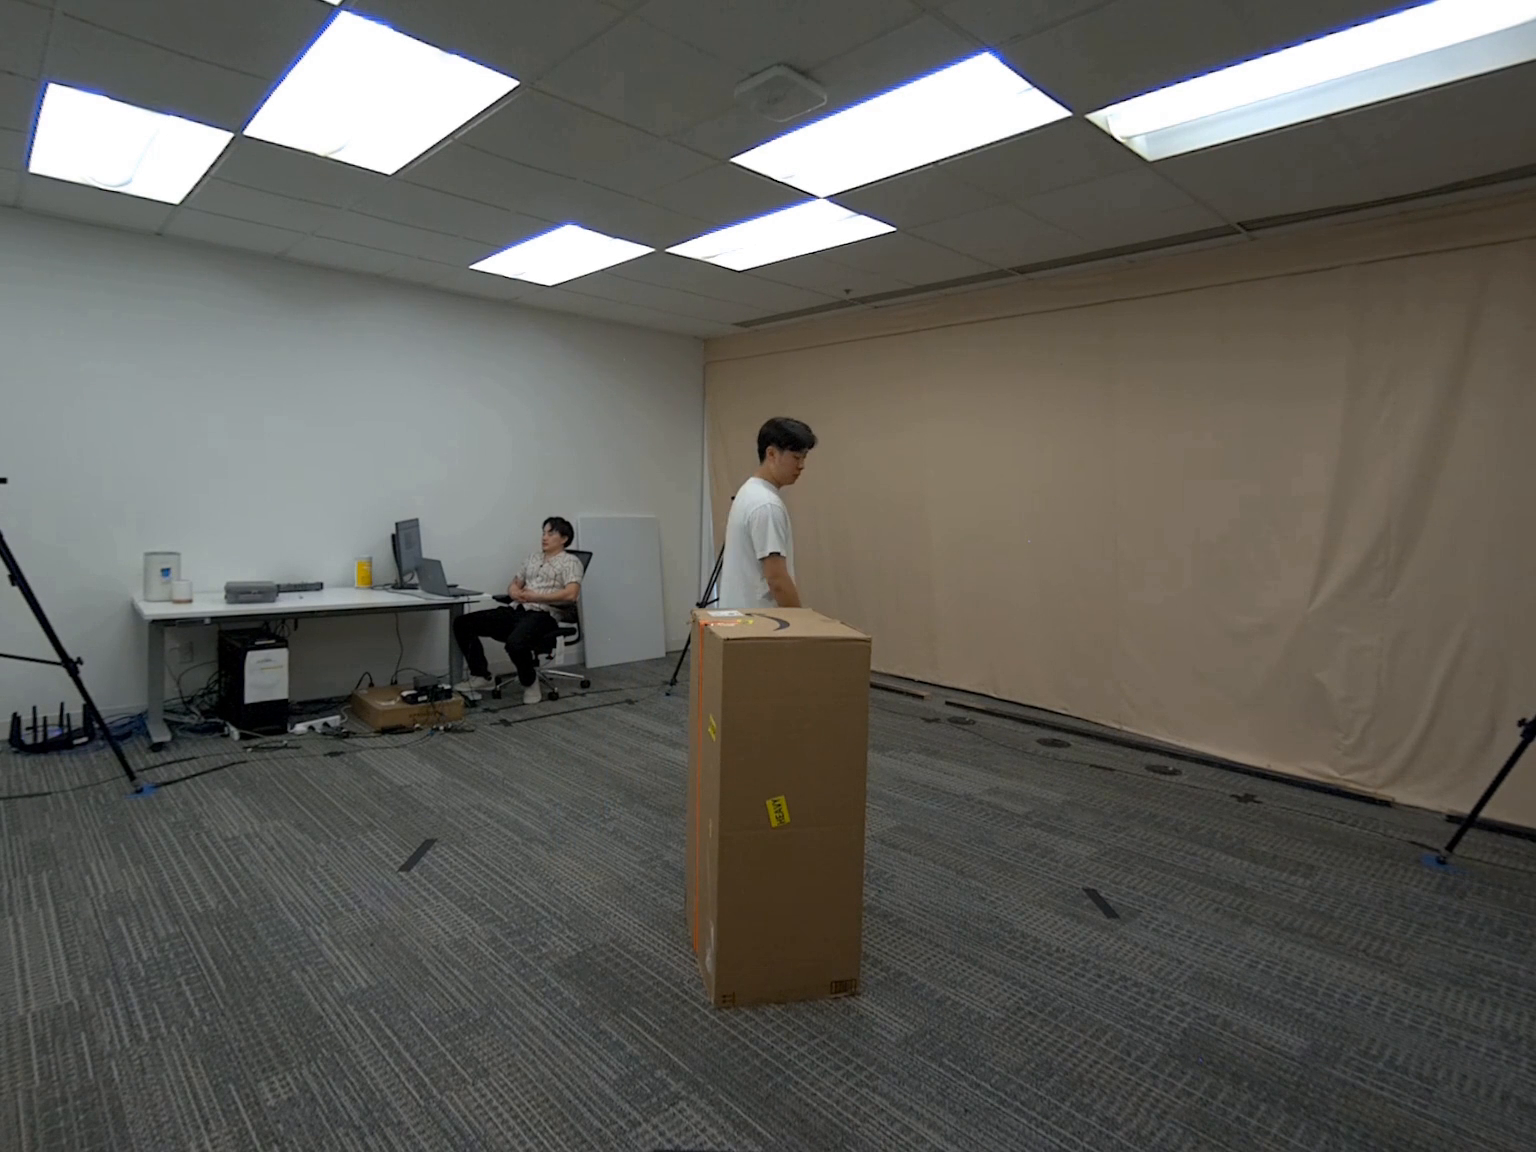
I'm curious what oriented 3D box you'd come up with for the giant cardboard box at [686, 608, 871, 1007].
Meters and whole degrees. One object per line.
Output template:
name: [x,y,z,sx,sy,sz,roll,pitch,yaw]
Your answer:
giant cardboard box: [-0.008,0.651,2.576,0.421,1.023,0.585,1,4,-14]
